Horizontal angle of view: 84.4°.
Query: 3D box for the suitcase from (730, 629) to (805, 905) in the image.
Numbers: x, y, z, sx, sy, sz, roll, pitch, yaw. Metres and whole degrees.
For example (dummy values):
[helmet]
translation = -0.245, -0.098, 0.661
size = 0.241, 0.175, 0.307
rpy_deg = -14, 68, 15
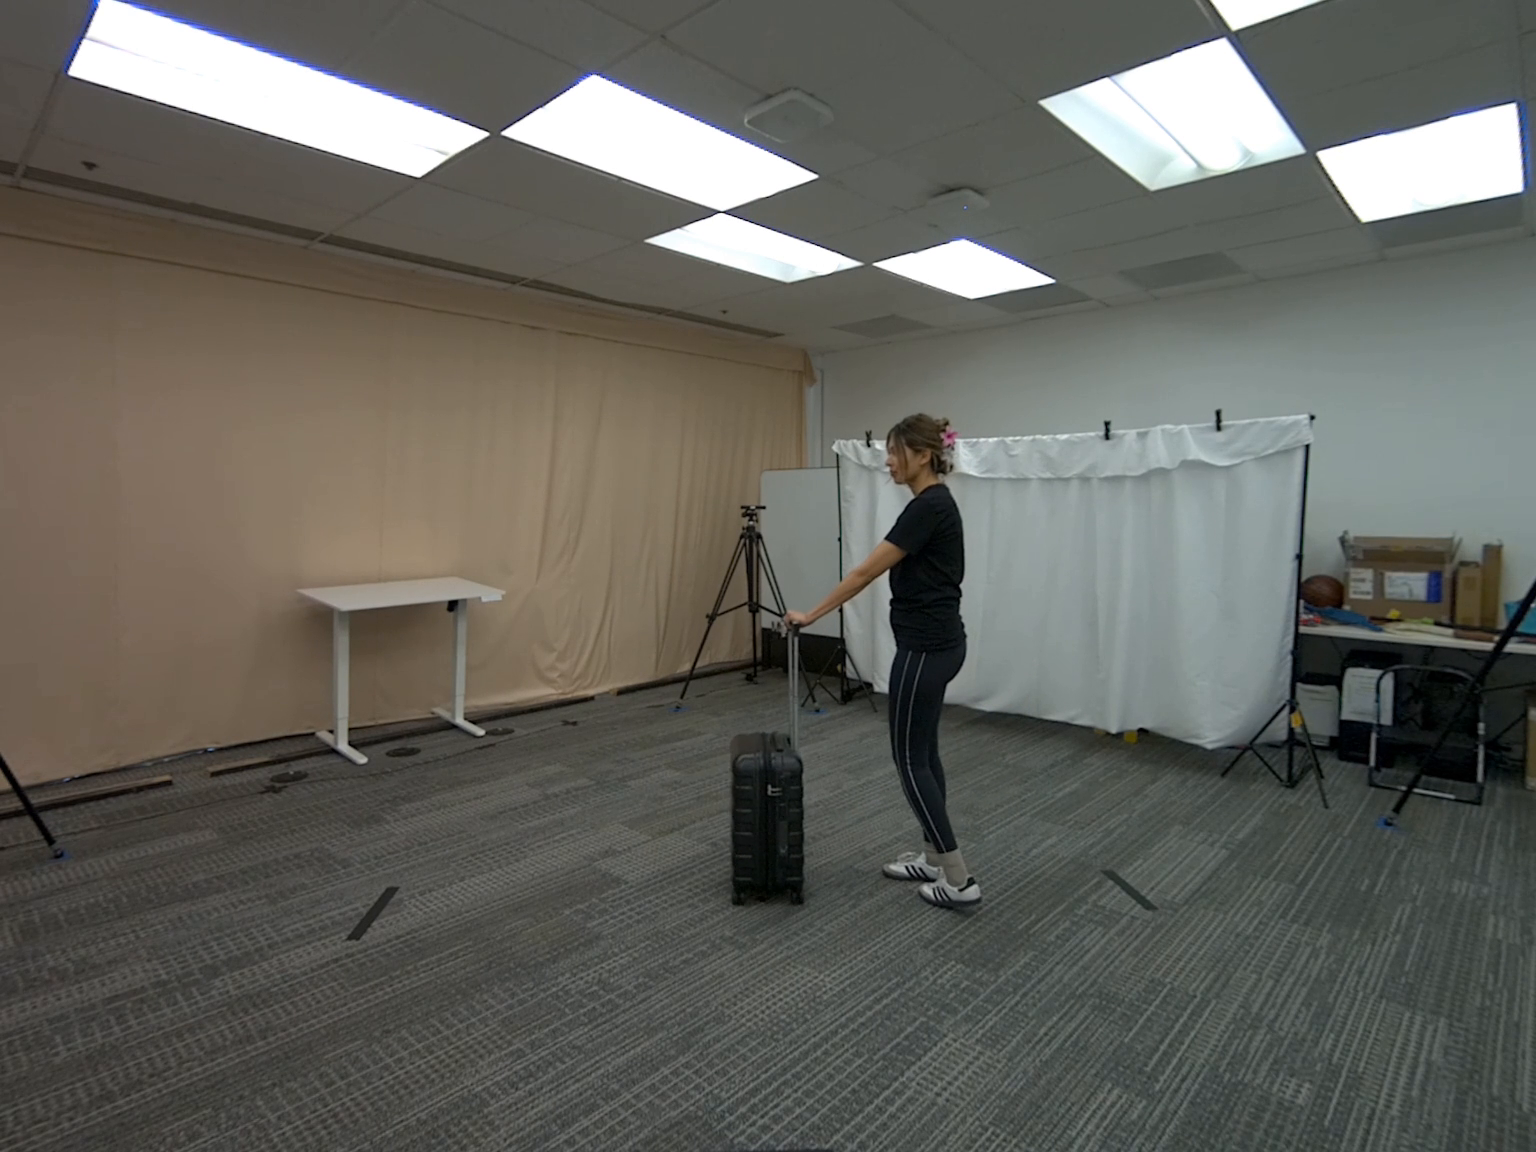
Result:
[suitcase]
translation = -0.011, 0.664, 3.048
size = 0.257, 0.975, 0.386
rpy_deg = -3, 4, -2
